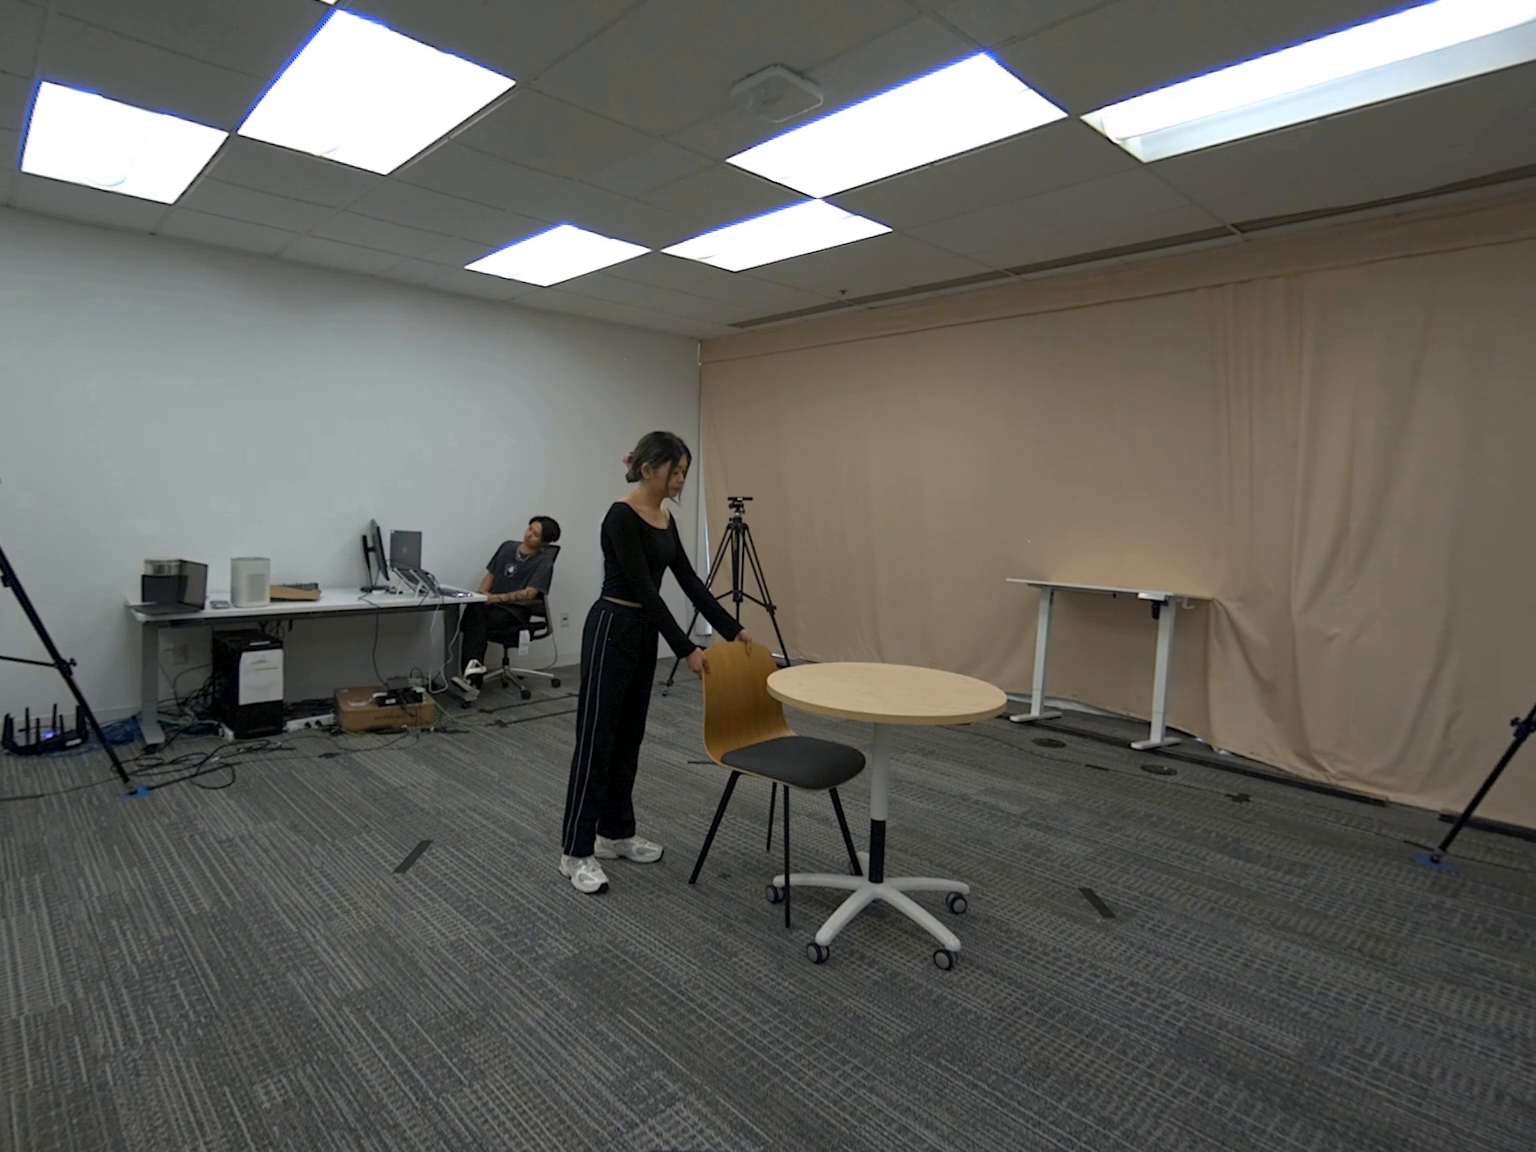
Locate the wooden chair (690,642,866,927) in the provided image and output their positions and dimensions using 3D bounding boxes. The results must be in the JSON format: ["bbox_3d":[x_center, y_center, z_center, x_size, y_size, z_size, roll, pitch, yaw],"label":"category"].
[{"bbox_3d":[0.042,0.689,3.017,0.535,0.878,0.467,-2,-1,41],"label":"wooden chair"}]
